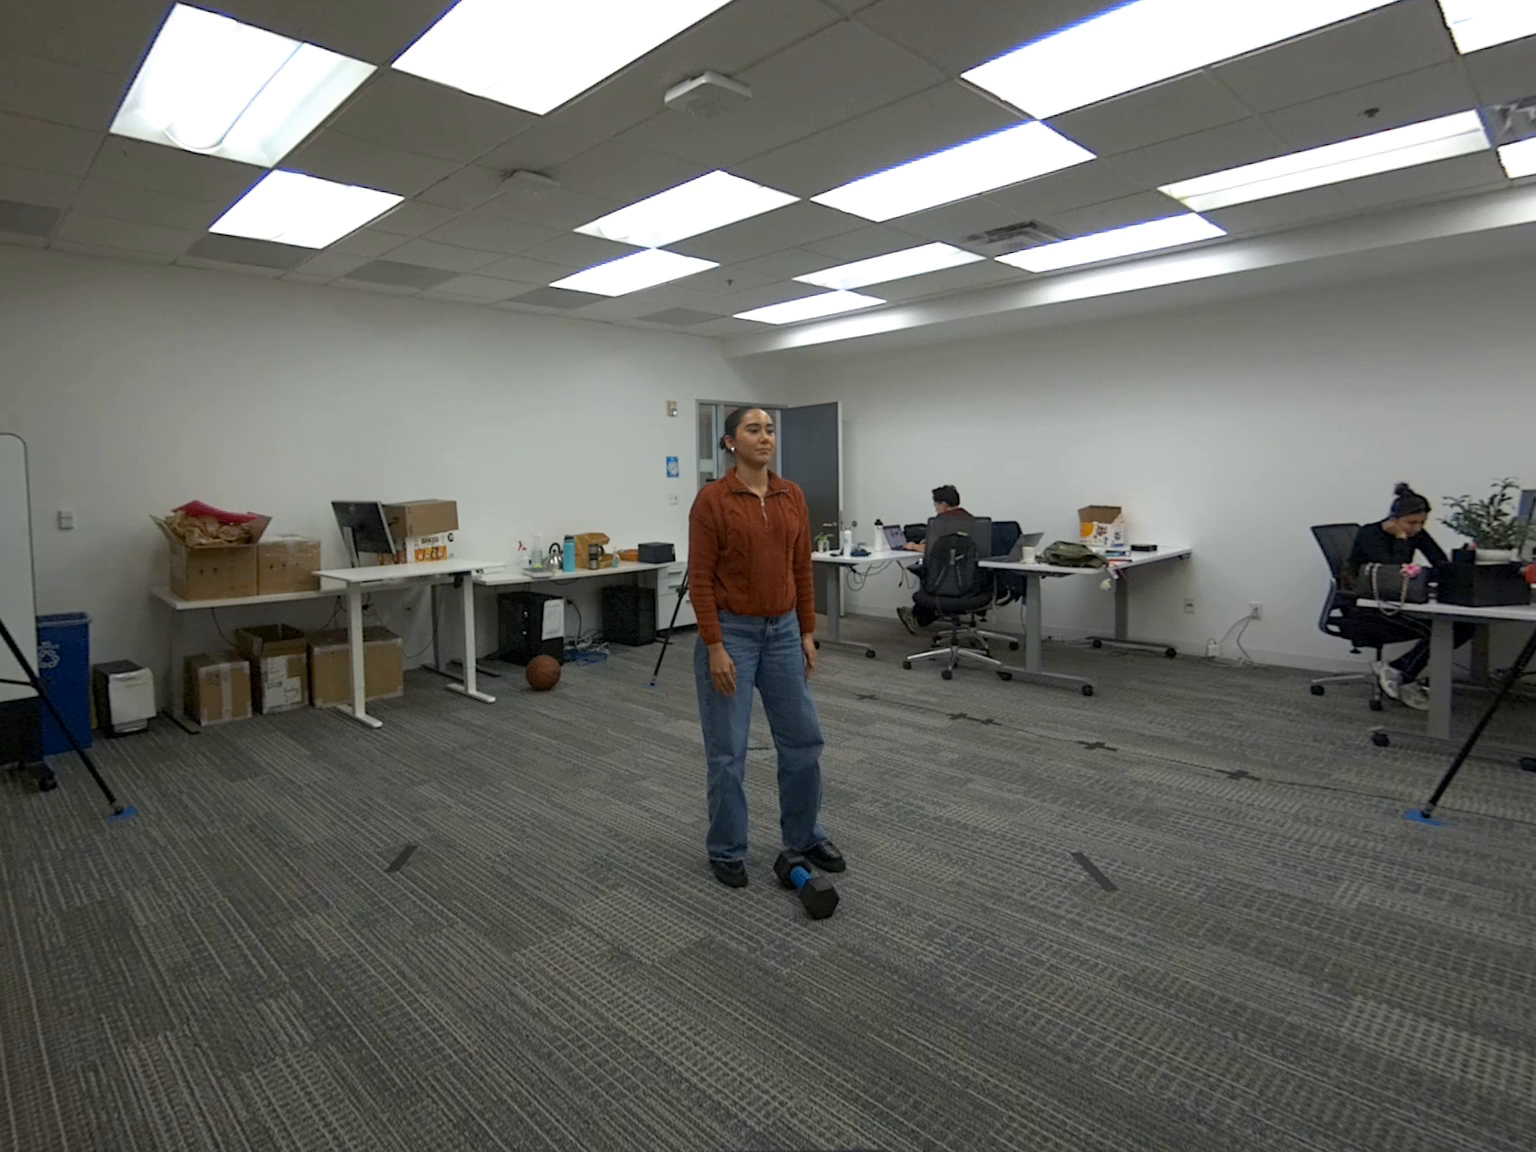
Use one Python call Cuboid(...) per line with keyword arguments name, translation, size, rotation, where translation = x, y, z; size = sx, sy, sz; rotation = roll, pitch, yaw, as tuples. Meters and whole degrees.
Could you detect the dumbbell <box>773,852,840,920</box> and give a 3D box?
Cuboid(name="dumbbell", translation=(0.127, 1.025, 2.831), size=(0.108, 0.121, 0.300), rotation=(-34, 15, -15))
